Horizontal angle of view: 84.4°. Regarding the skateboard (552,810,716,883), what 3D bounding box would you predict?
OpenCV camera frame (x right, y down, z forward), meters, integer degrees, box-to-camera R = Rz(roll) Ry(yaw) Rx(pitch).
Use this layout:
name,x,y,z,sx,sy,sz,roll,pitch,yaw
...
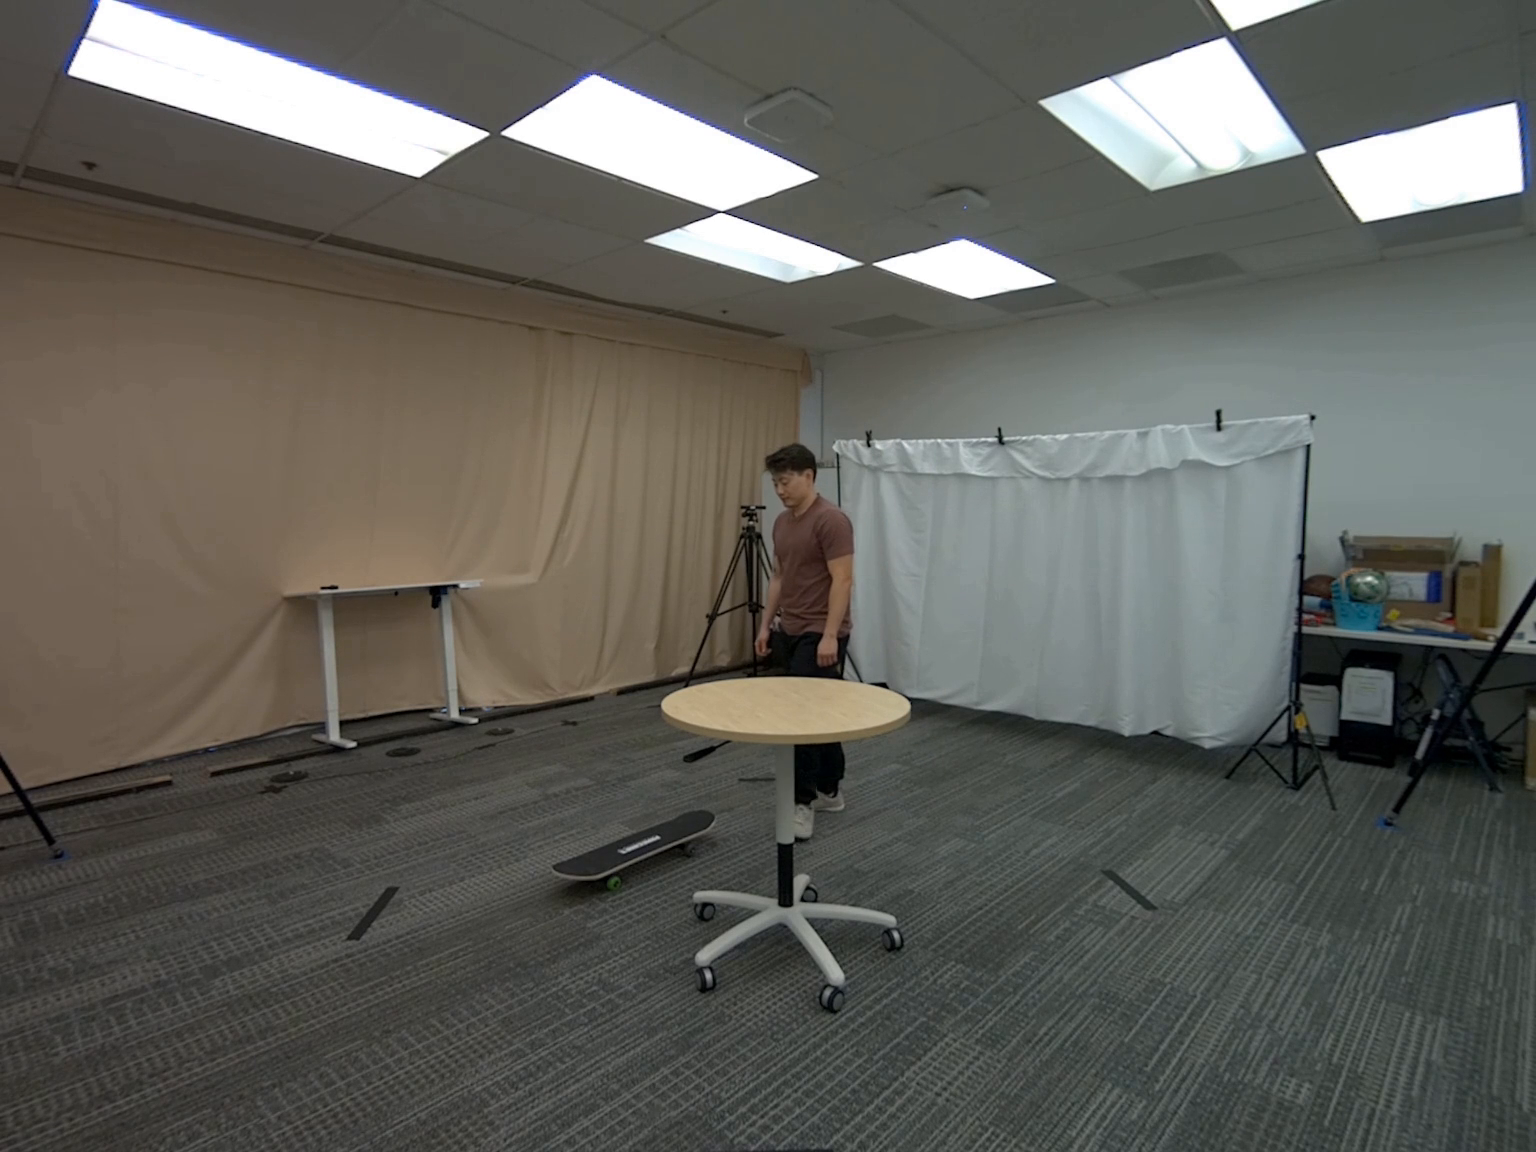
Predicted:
name,x,y,z,sx,sy,sz,roll,pitch,yaw
skateboard,-0.502,1.072,3.254,0.200,0.110,0.762,2,5,41
